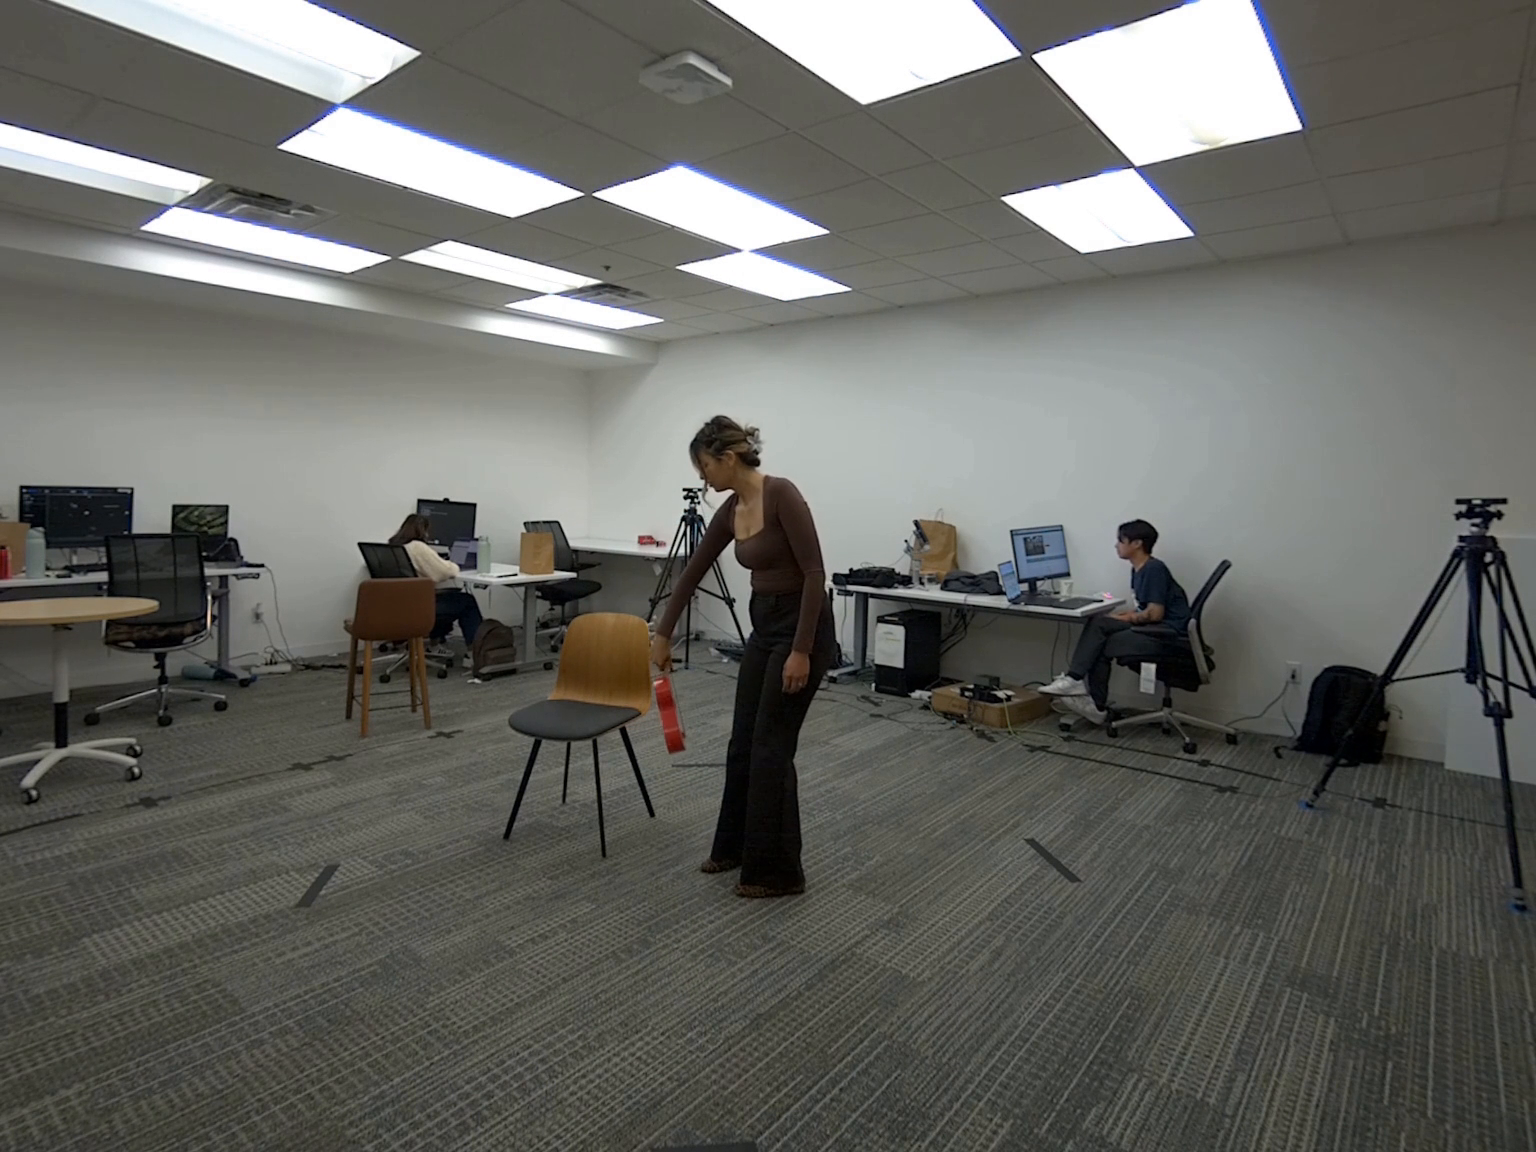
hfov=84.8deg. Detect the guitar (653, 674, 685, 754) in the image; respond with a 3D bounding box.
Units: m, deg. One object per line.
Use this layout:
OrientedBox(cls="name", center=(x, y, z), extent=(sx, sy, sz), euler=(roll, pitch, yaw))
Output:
OrientedBox(cls="guitar", center=(-0.394, 0.406, 3.165), extent=(0.070, 0.508, 0.190), euler=(-13, -18, -6))
